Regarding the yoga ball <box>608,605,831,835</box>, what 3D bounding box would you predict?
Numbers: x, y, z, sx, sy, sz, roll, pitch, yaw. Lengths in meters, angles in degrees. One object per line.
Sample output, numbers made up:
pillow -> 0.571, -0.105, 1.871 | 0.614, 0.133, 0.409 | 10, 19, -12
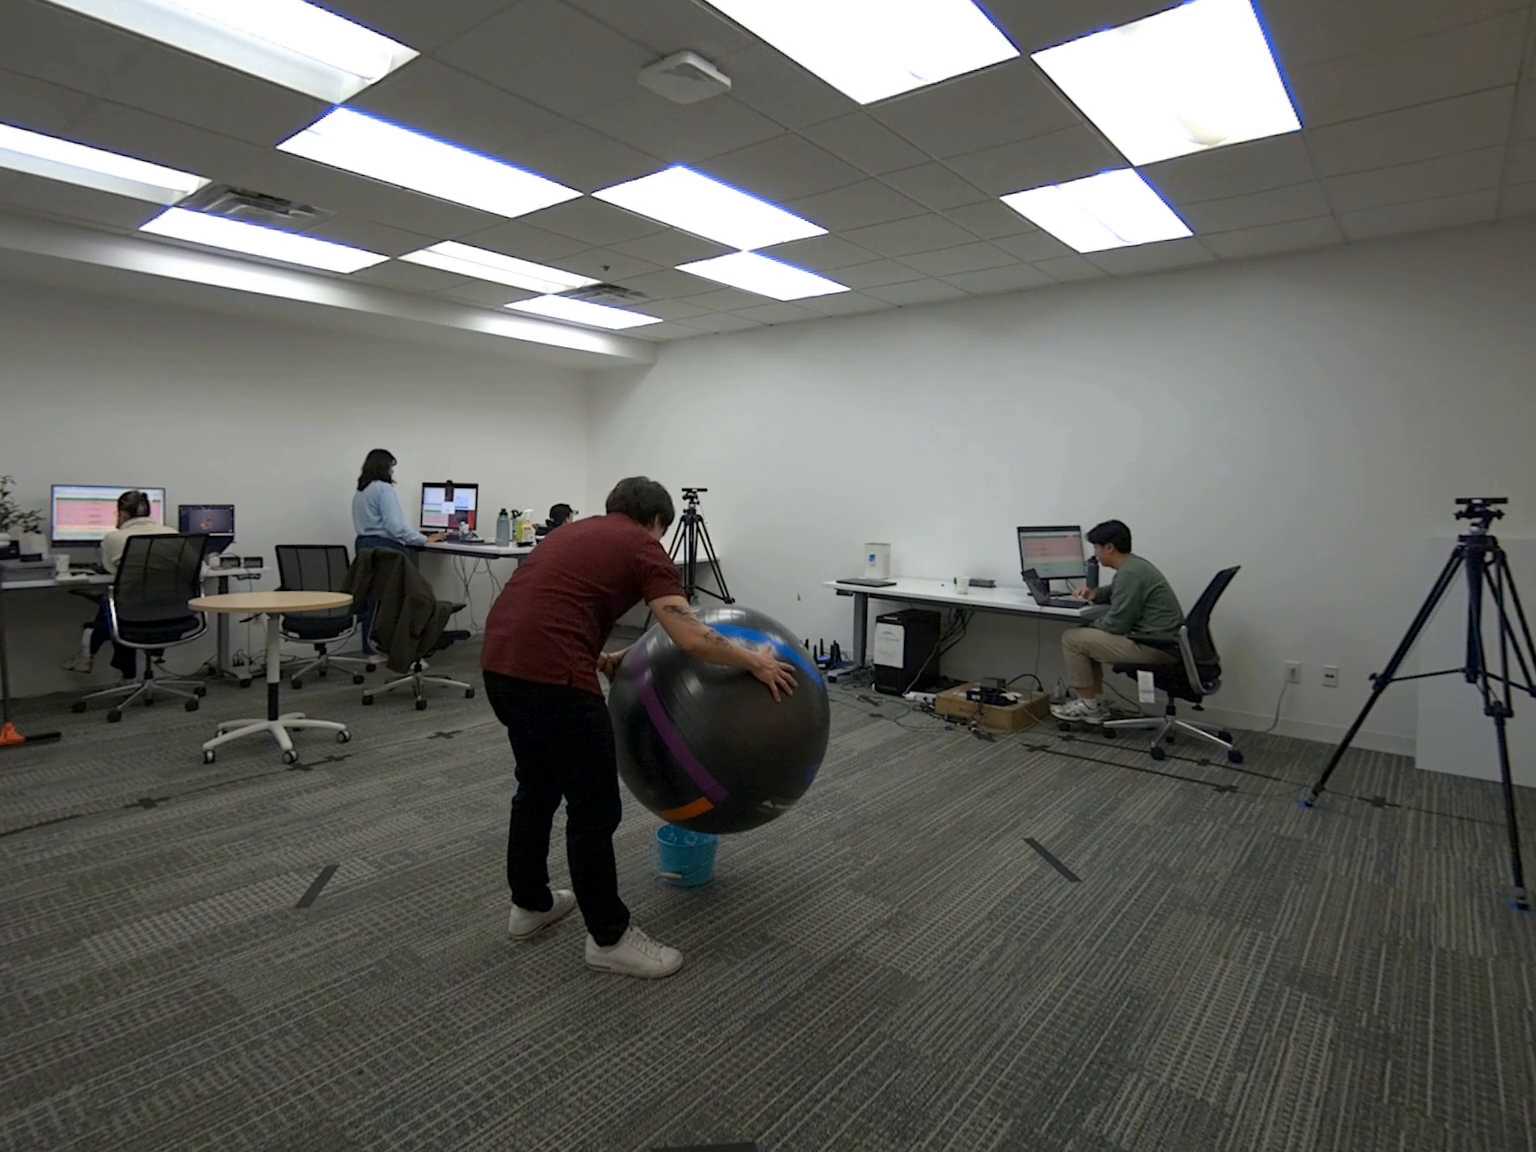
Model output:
yoga ball -> -0.158, 0.489, 2.878 | 0.757, 0.755, 0.762 | 1, 4, -2
